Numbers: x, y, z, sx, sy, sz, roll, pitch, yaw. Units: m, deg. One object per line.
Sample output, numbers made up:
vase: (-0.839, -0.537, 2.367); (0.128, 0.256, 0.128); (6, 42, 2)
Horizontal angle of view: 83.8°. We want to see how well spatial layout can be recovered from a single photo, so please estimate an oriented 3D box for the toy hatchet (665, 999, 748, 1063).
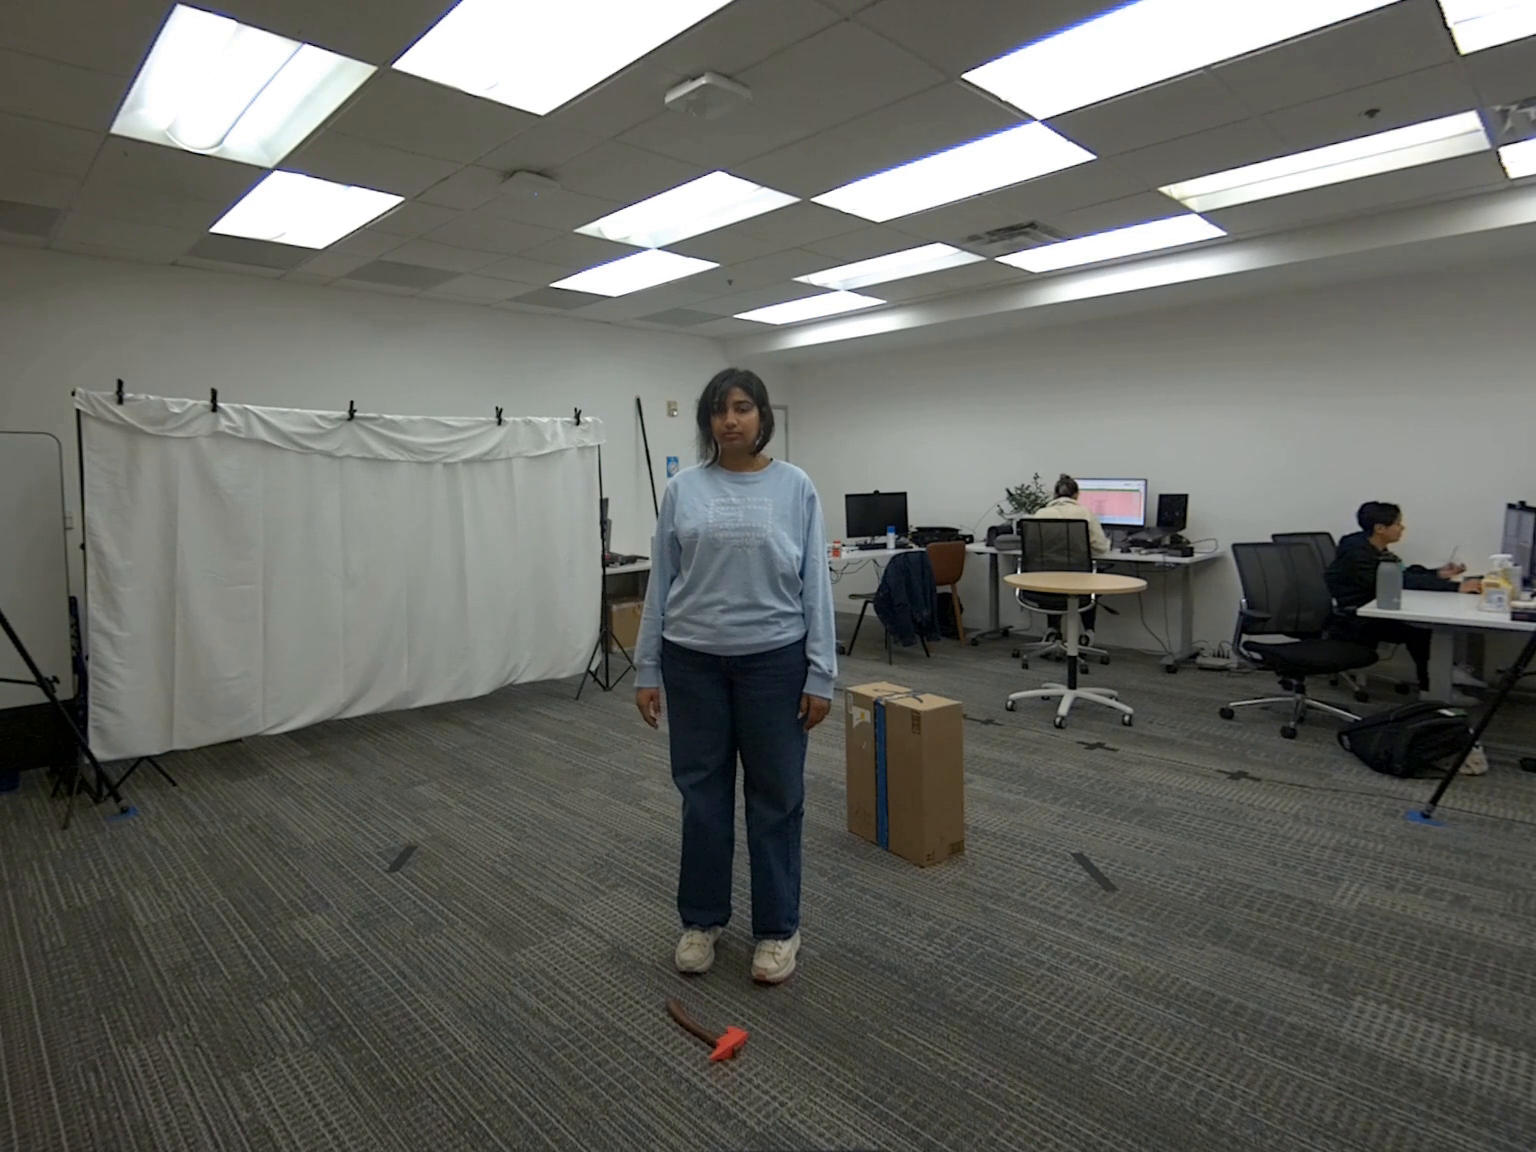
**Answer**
toy hatchet: (-0.145, 1.153, 2.179); (0.128, 0.029, 0.277); (-6, 7, -30)
